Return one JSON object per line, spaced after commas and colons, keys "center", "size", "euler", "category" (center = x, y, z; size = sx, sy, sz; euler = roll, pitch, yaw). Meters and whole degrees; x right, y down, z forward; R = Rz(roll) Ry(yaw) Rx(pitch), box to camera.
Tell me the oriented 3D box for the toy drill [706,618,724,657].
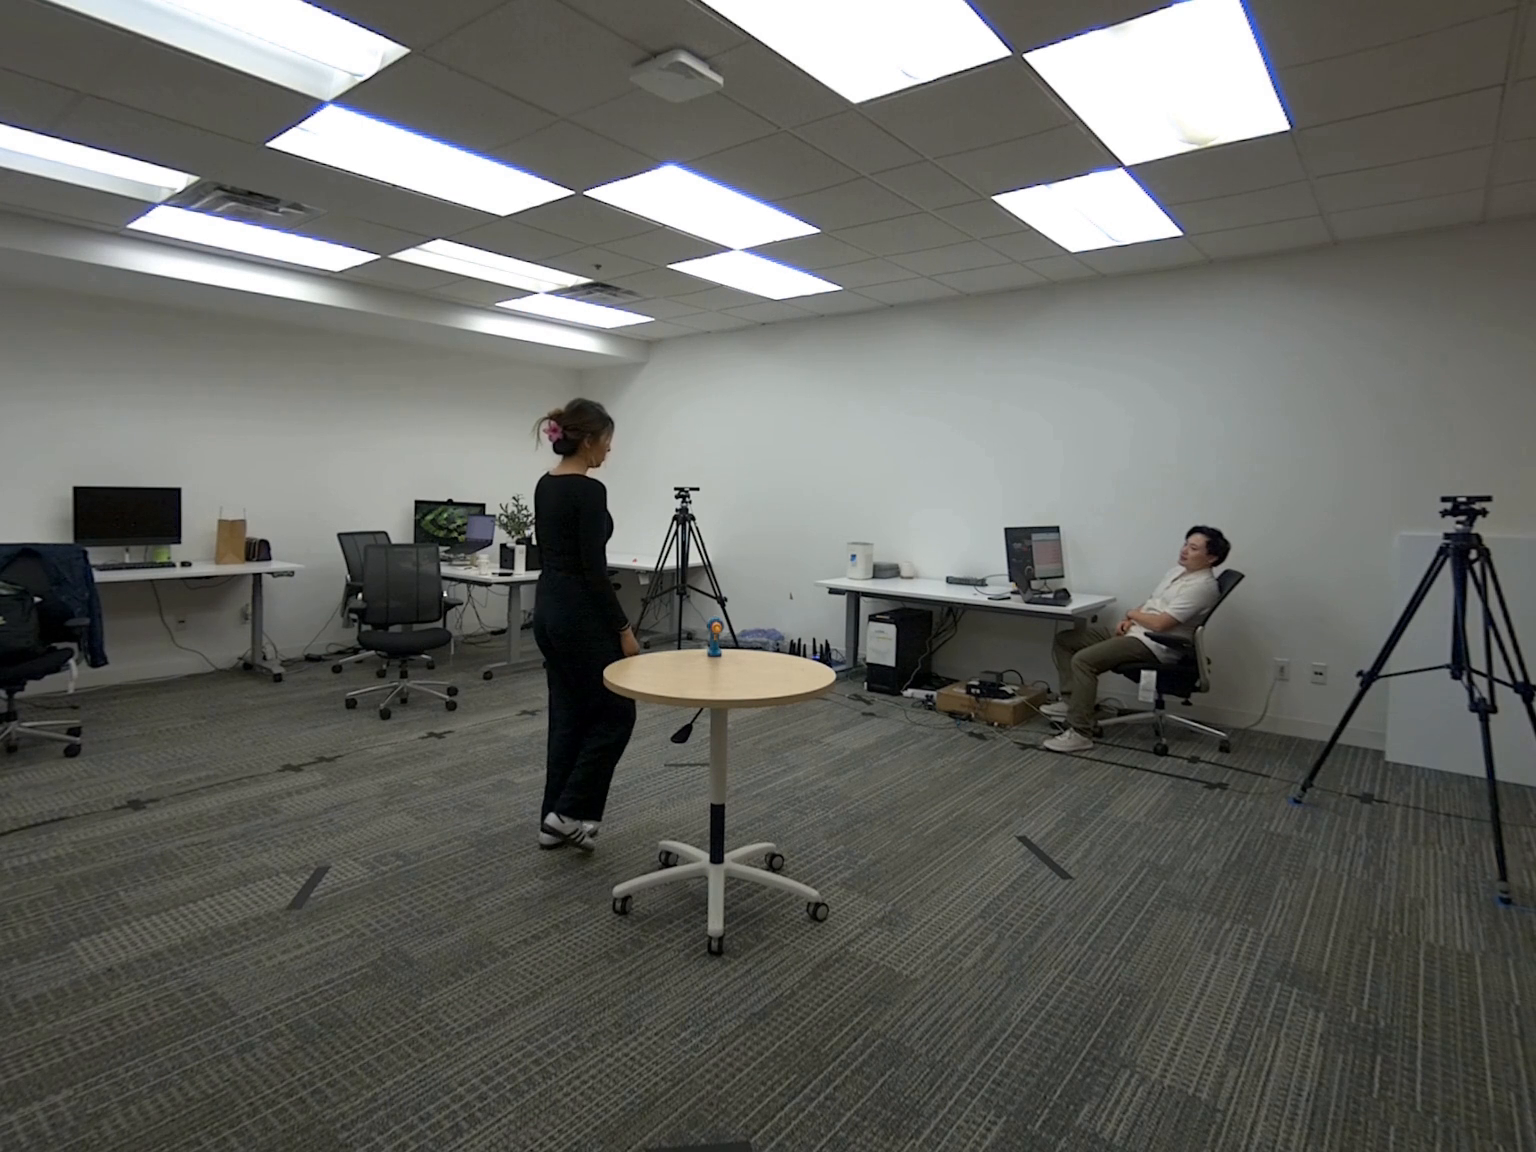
{"center": [-0.194, 0.218, 3.041], "size": [0.060, 0.145, 0.172], "euler": [2, 5, -11], "category": "toy drill"}
